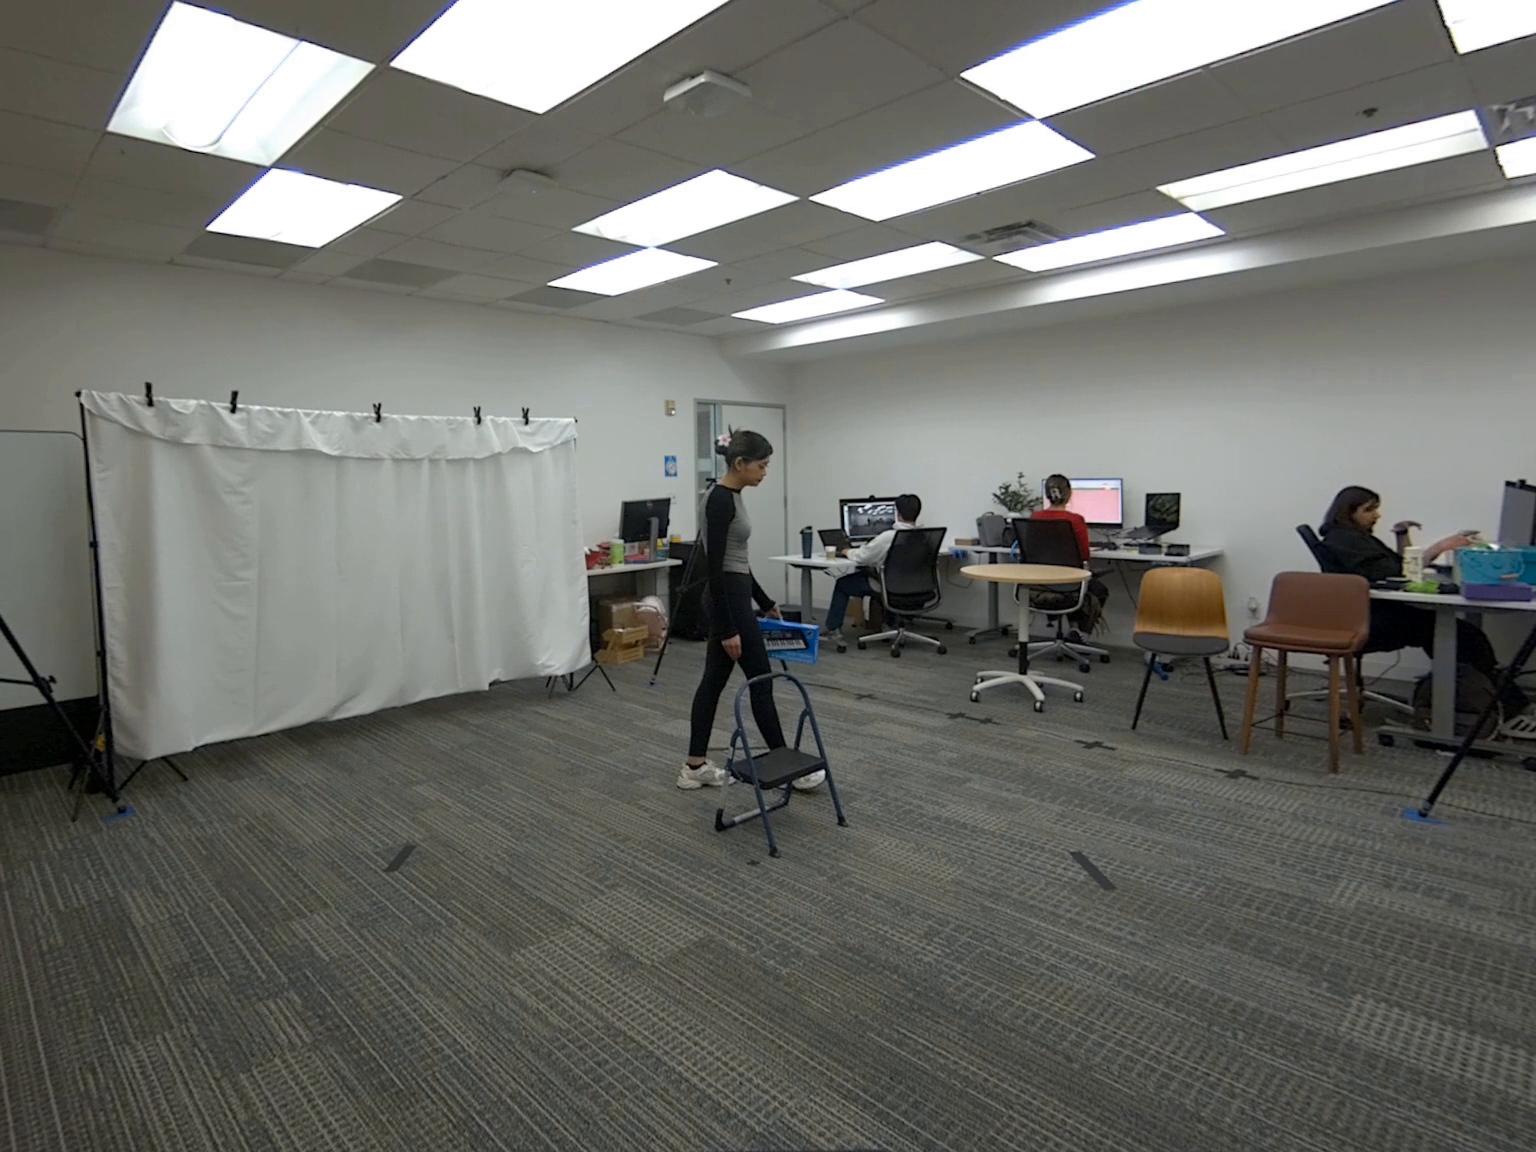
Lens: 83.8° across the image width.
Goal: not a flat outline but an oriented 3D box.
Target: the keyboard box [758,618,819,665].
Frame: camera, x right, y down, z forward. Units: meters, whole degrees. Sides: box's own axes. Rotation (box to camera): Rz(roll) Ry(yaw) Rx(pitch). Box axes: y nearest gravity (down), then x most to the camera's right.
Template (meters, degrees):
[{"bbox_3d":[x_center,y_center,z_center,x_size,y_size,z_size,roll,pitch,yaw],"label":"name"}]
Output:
[{"bbox_3d":[0.021,0.298,4.048,0.446,0.174,0.058,7,11,20],"label":"keyboard box"}]
